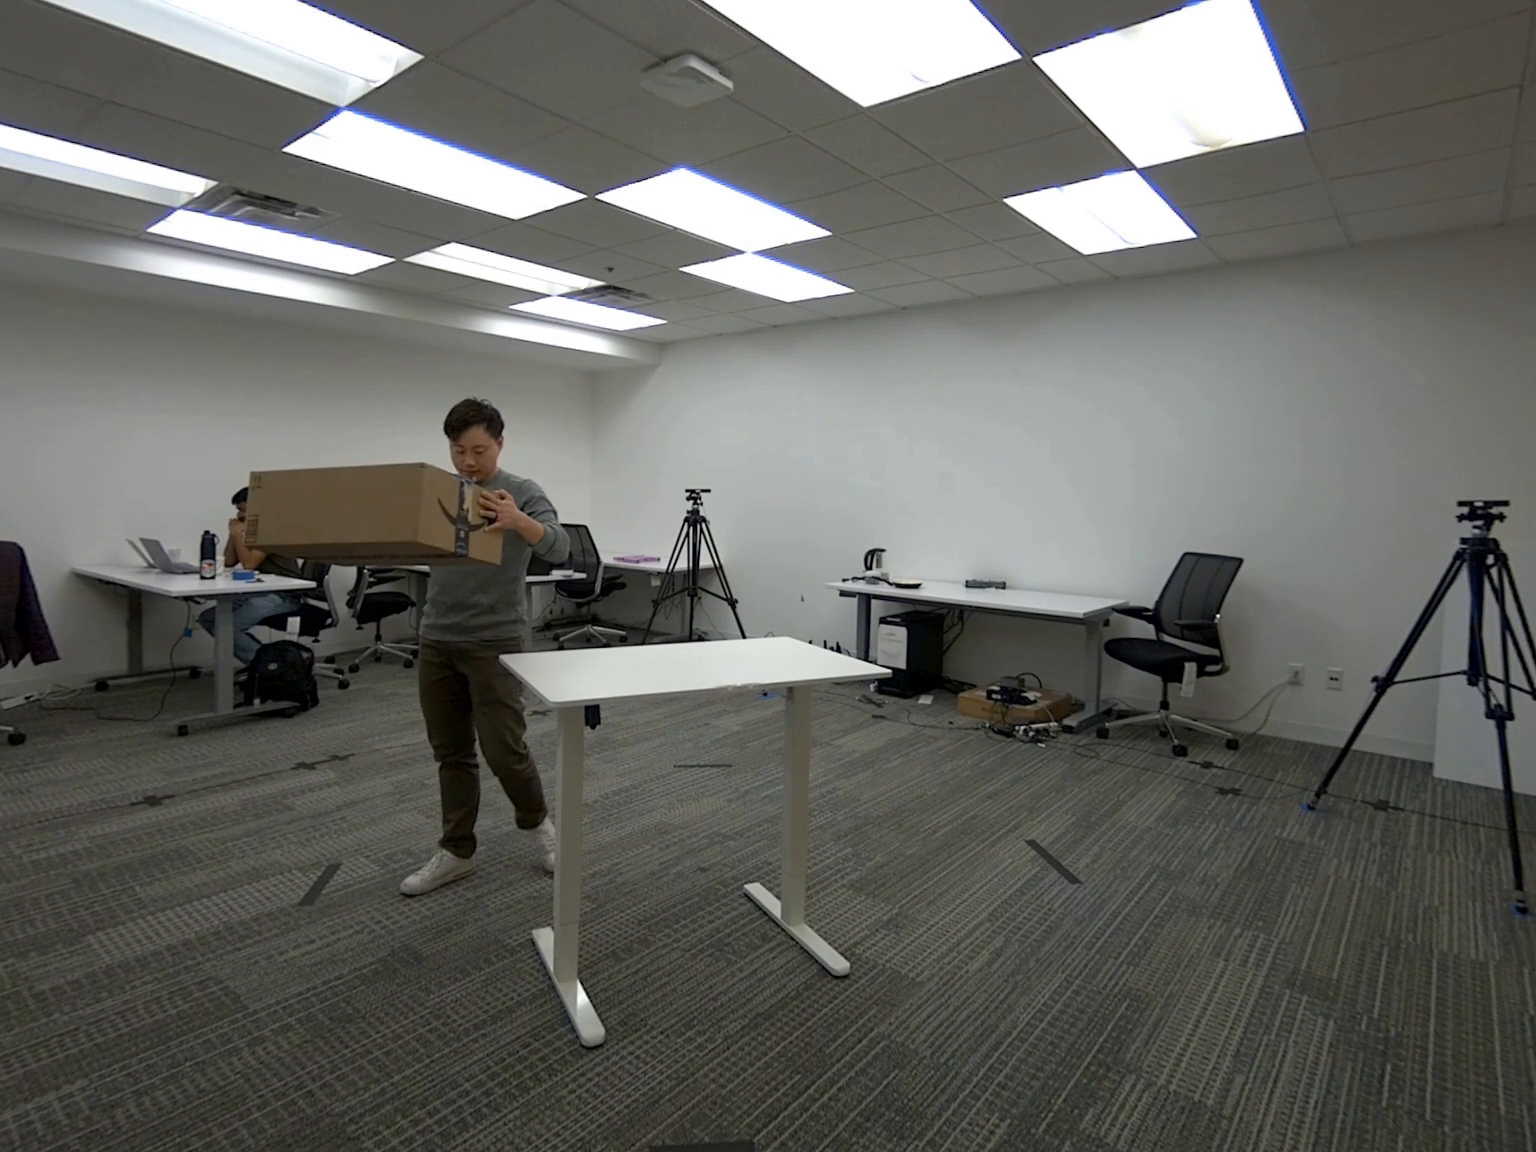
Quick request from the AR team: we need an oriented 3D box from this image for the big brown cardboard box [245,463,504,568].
[{"bbox_3d":[-1.135,-0.169,2.481,0.599,0.235,0.407,1,-8,16],"label":"big brown cardboard box"}]
